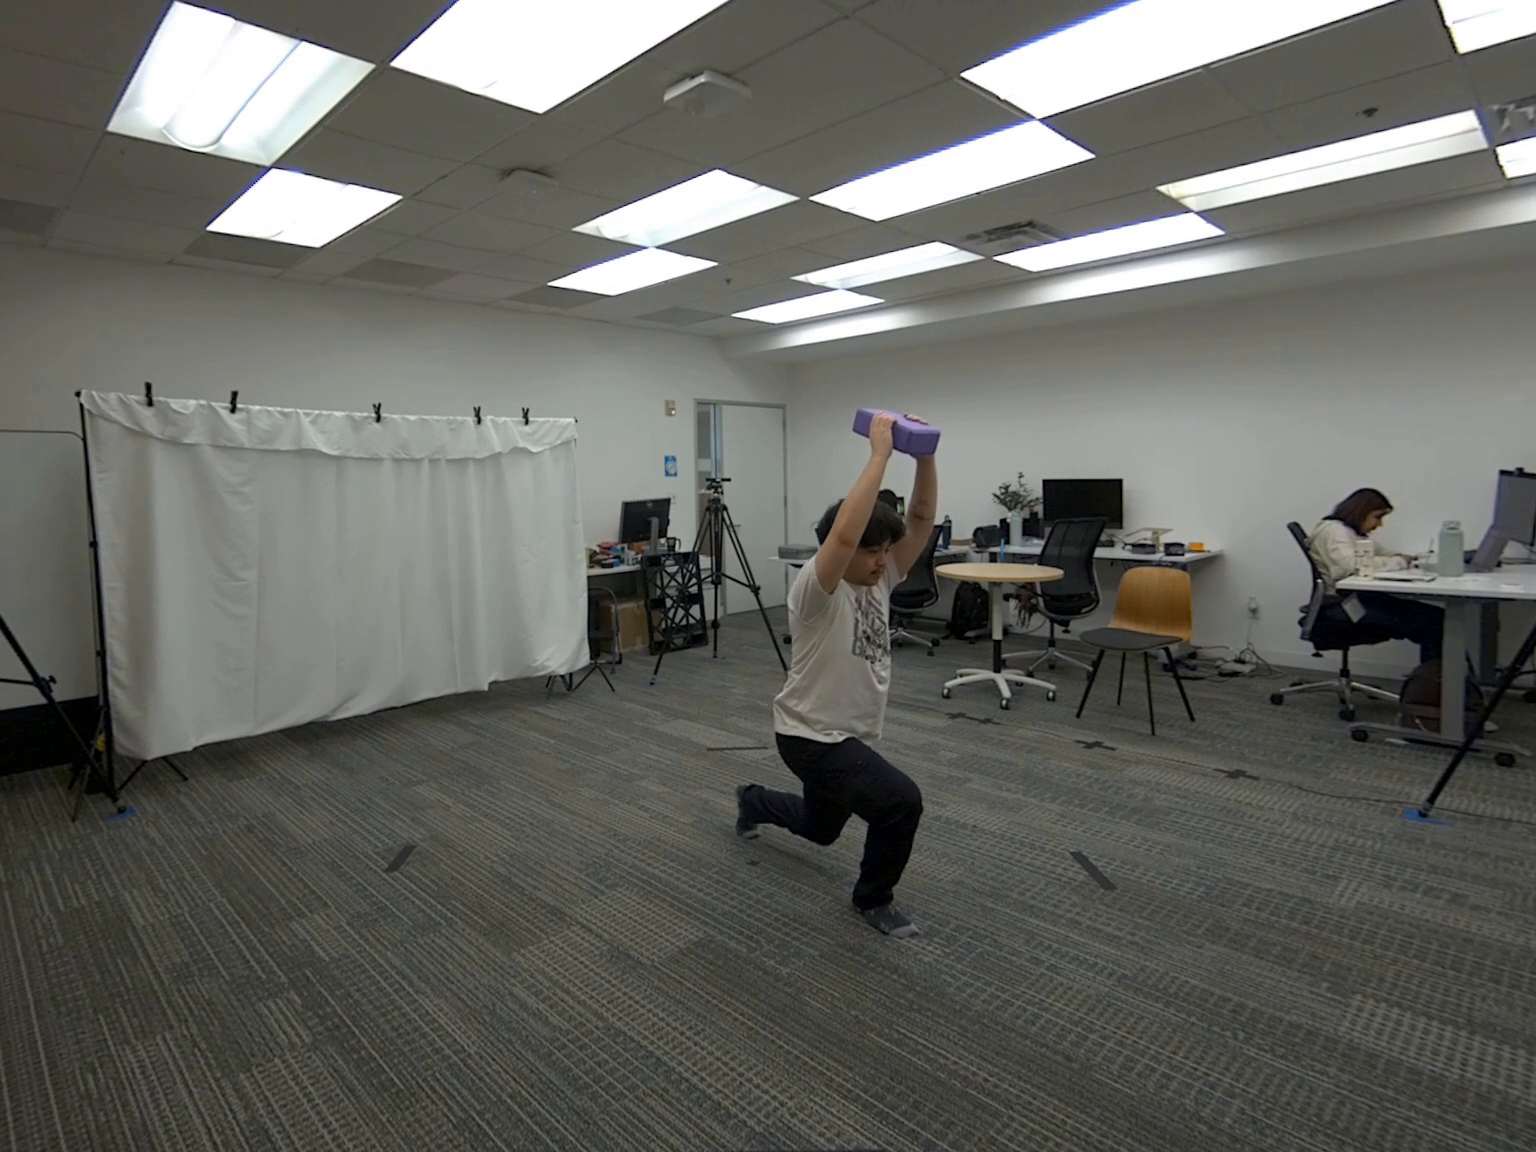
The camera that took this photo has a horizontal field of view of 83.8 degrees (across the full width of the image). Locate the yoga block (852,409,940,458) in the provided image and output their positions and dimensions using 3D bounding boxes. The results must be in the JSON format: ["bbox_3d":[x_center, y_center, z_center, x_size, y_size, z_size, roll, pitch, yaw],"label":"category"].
[{"bbox_3d":[0.390,-0.446,2.600,0.145,0.075,0.238,-6,26,-39],"label":"yoga block"}]
